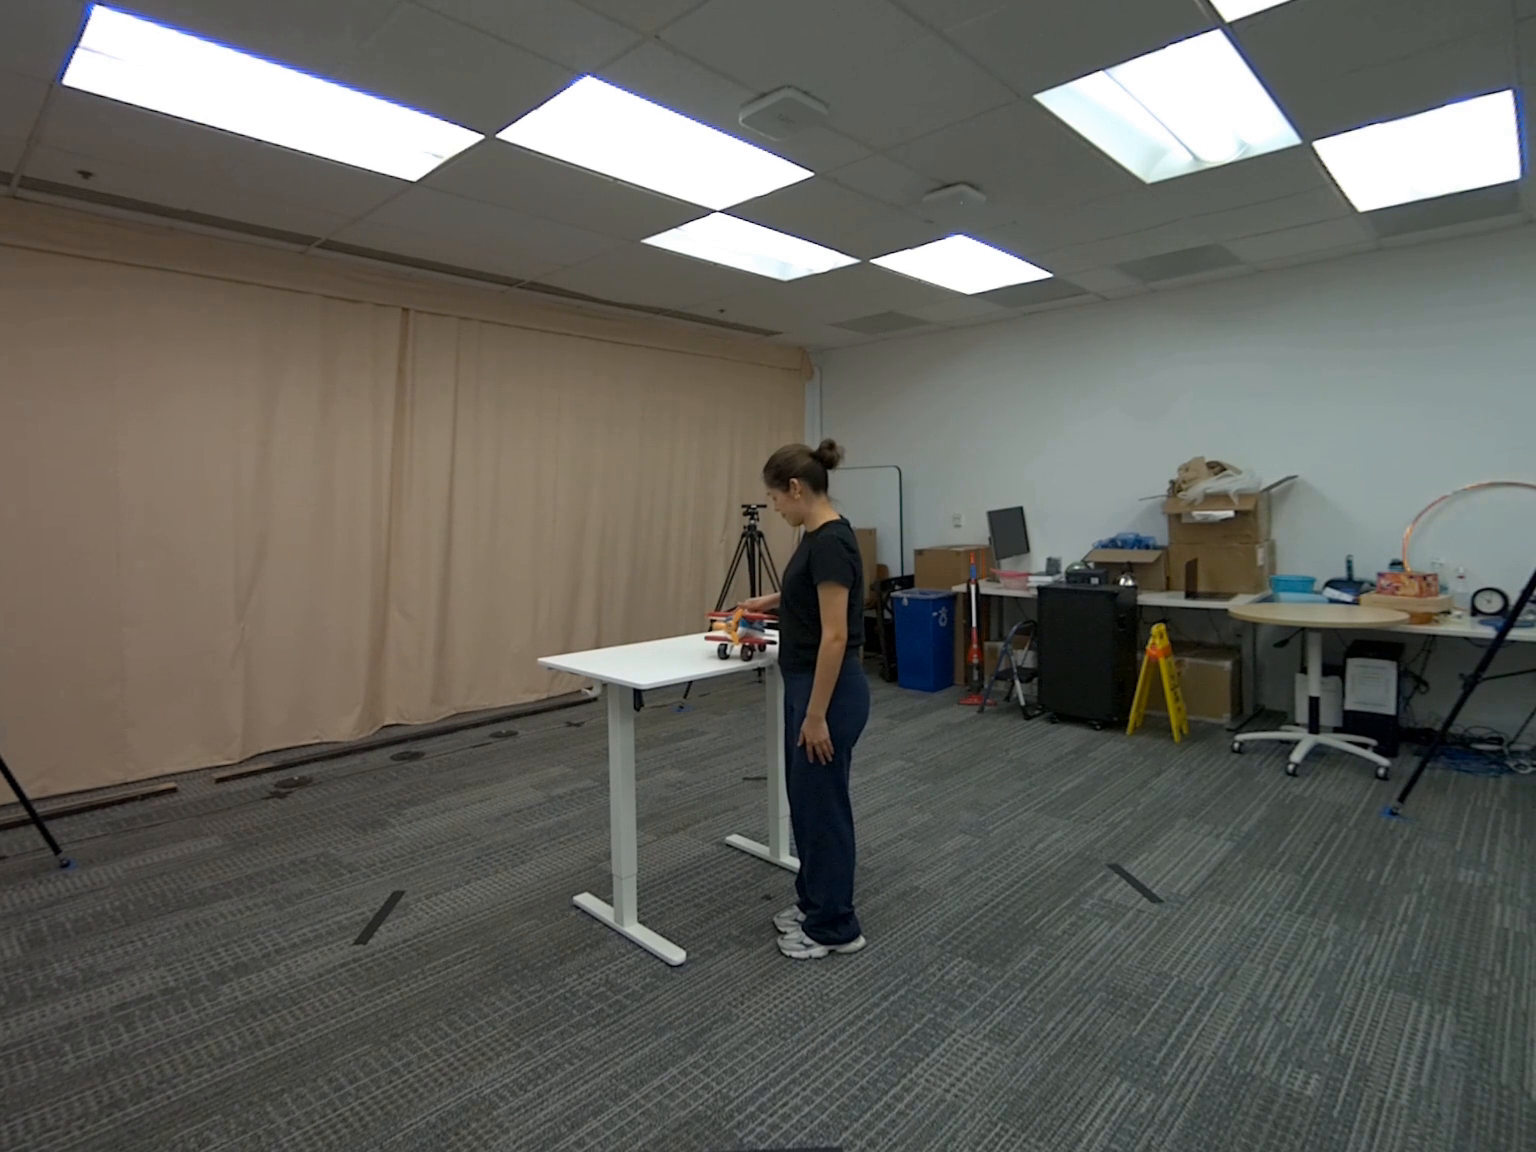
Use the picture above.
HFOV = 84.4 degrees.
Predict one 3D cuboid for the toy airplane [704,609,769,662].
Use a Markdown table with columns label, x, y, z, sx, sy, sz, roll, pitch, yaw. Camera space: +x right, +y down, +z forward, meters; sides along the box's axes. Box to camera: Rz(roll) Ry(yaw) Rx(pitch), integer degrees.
| label | x | y | z | sx | sy | sz | roll | pitch | yaw |
| --- | --- | --- | --- | --- | --- | --- | --- | --- | --- |
| toy airplane | -0.077 | 0.194 | 2.858 | 0.250 | 0.156 | 0.260 | -2 | 5 | -3 |
